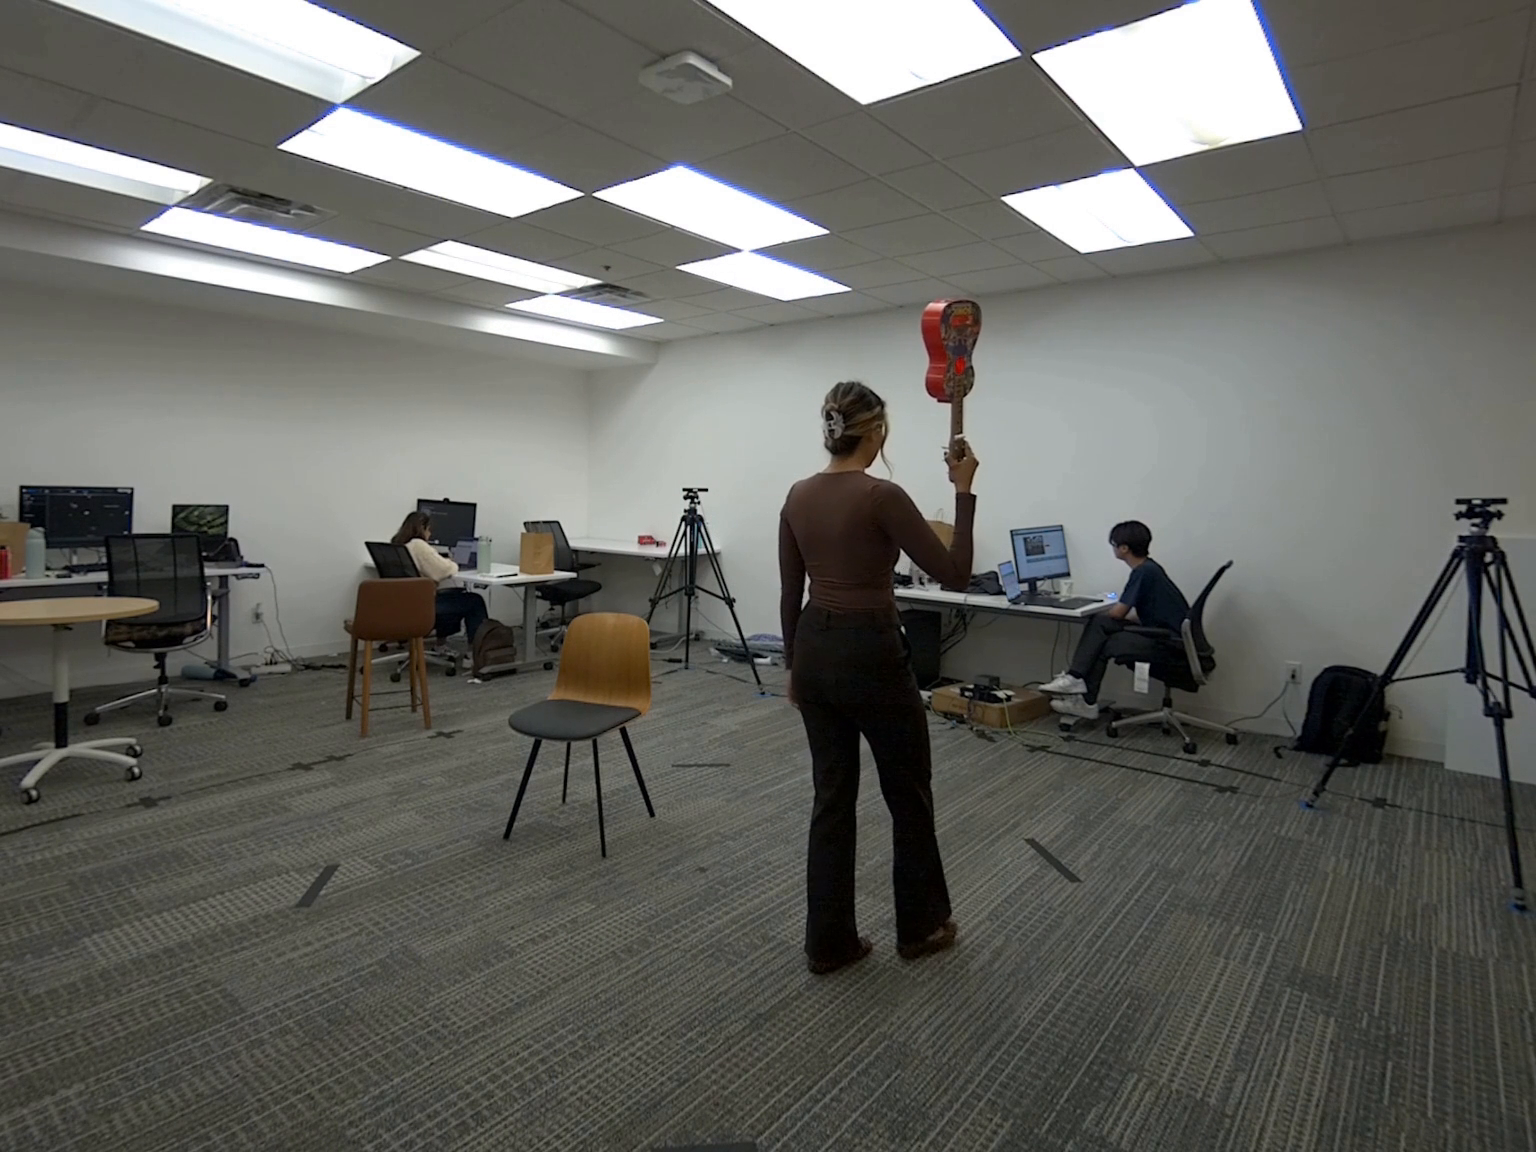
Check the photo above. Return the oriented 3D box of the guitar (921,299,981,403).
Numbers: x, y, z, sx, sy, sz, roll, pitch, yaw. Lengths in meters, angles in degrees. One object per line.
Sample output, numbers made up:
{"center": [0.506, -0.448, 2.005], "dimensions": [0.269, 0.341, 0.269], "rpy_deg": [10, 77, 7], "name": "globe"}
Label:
{"center": [0.474, -0.504, 2.334], "dimensions": [0.187, 0.493, 0.073], "rpy_deg": [-5, 15, -41], "name": "guitar"}
